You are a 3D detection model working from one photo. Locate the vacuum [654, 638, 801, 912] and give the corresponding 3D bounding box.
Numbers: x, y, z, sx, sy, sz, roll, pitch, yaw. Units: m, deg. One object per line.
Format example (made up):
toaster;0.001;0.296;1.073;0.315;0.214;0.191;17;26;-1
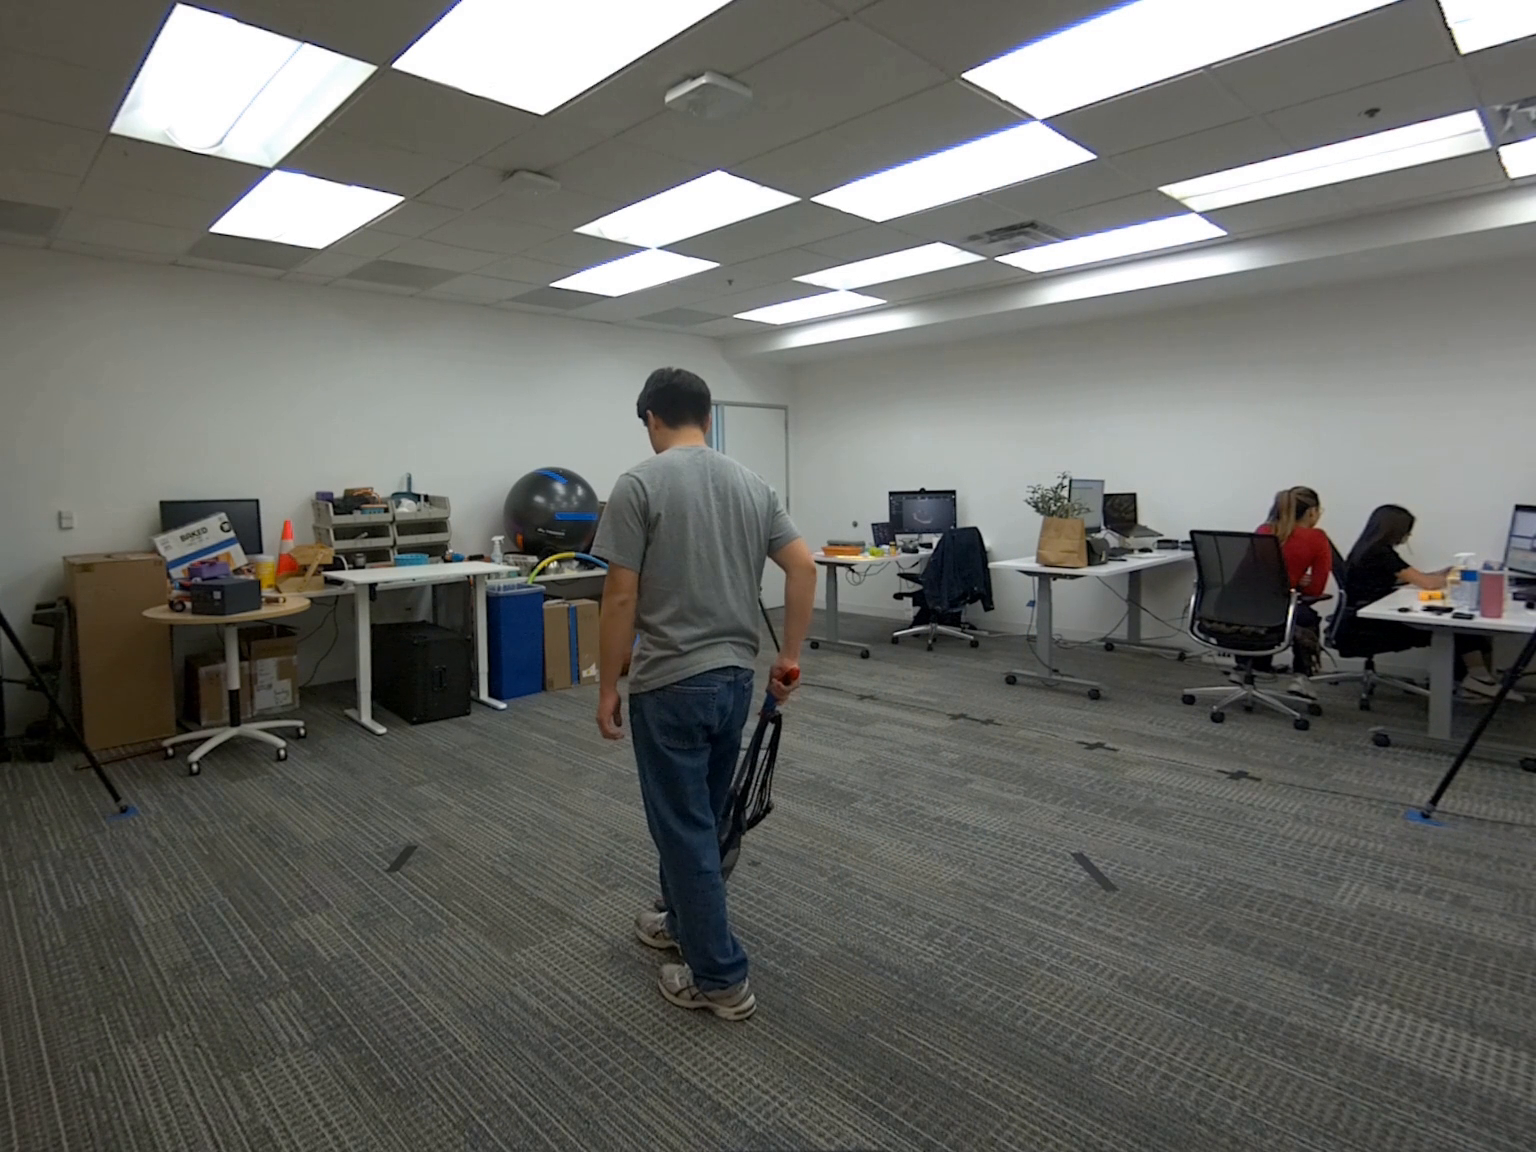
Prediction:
vacuum;-0.085;0.673;2.564;0.246;1.036;0.150;-3;37;-37
